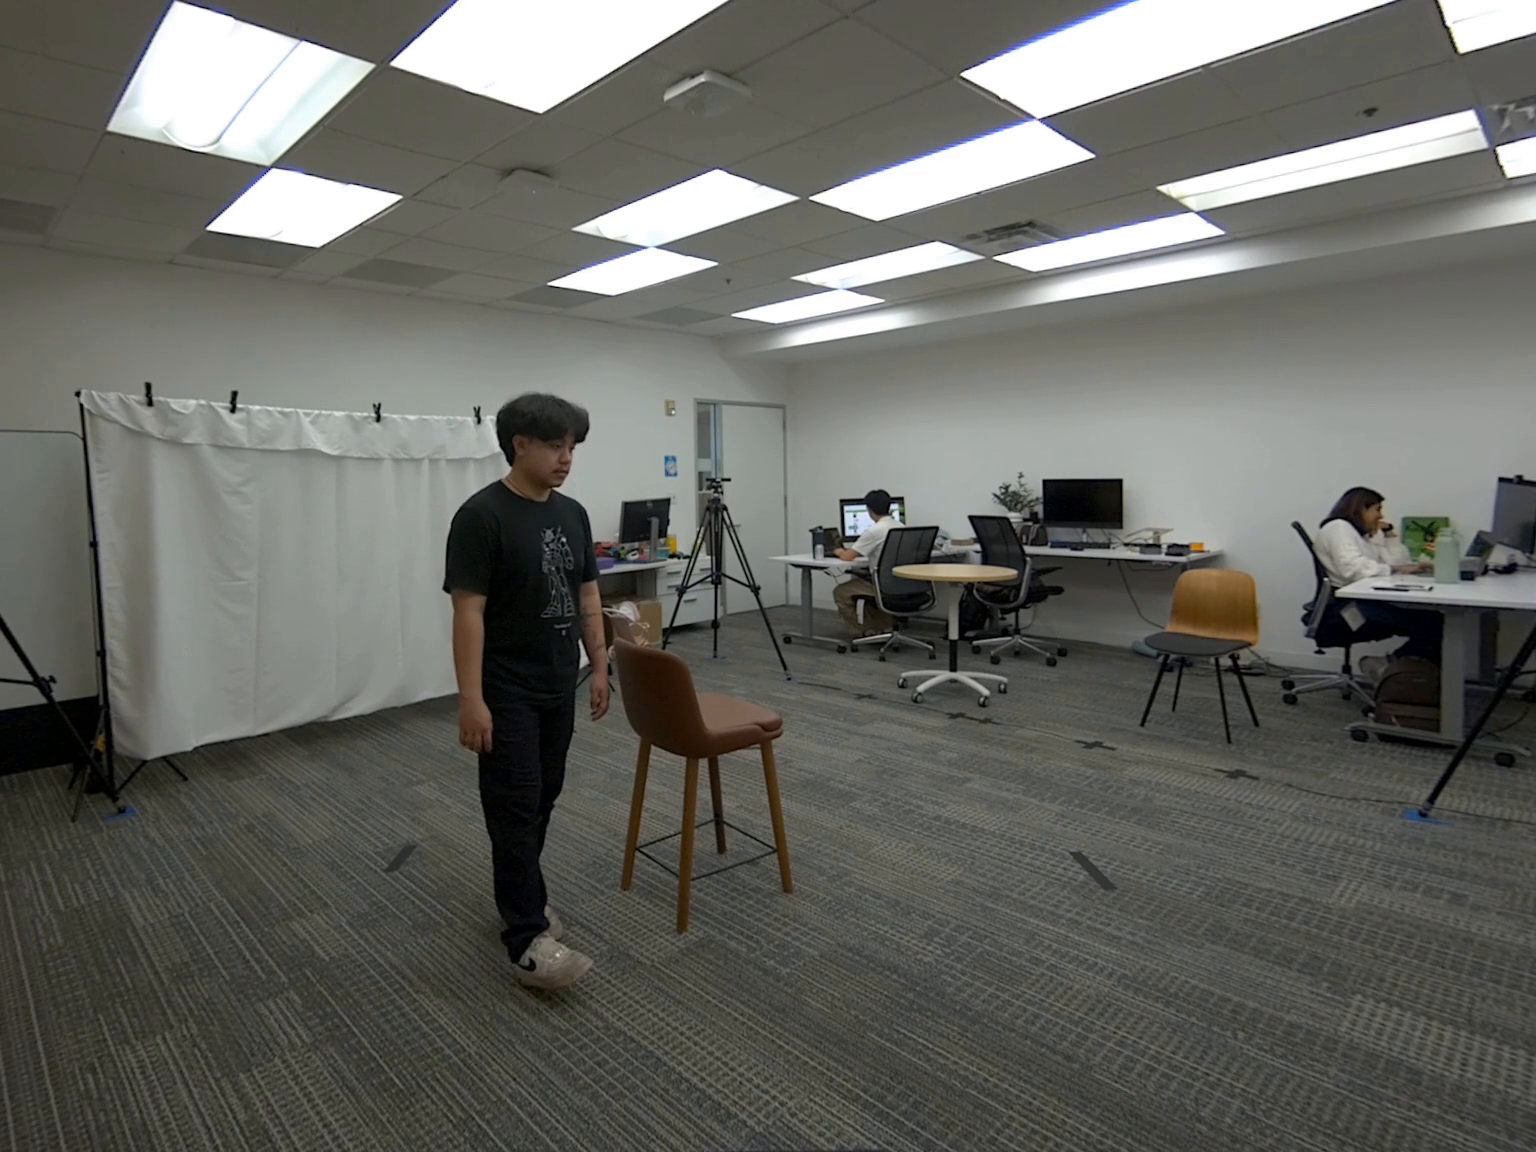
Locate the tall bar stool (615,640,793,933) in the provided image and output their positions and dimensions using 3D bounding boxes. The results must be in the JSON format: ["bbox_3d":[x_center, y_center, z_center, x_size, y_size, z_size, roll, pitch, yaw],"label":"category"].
[{"bbox_3d":[-0.229,0.635,2.883,0.456,0.885,0.470,-7,7,-37],"label":"tall bar stool"}]
